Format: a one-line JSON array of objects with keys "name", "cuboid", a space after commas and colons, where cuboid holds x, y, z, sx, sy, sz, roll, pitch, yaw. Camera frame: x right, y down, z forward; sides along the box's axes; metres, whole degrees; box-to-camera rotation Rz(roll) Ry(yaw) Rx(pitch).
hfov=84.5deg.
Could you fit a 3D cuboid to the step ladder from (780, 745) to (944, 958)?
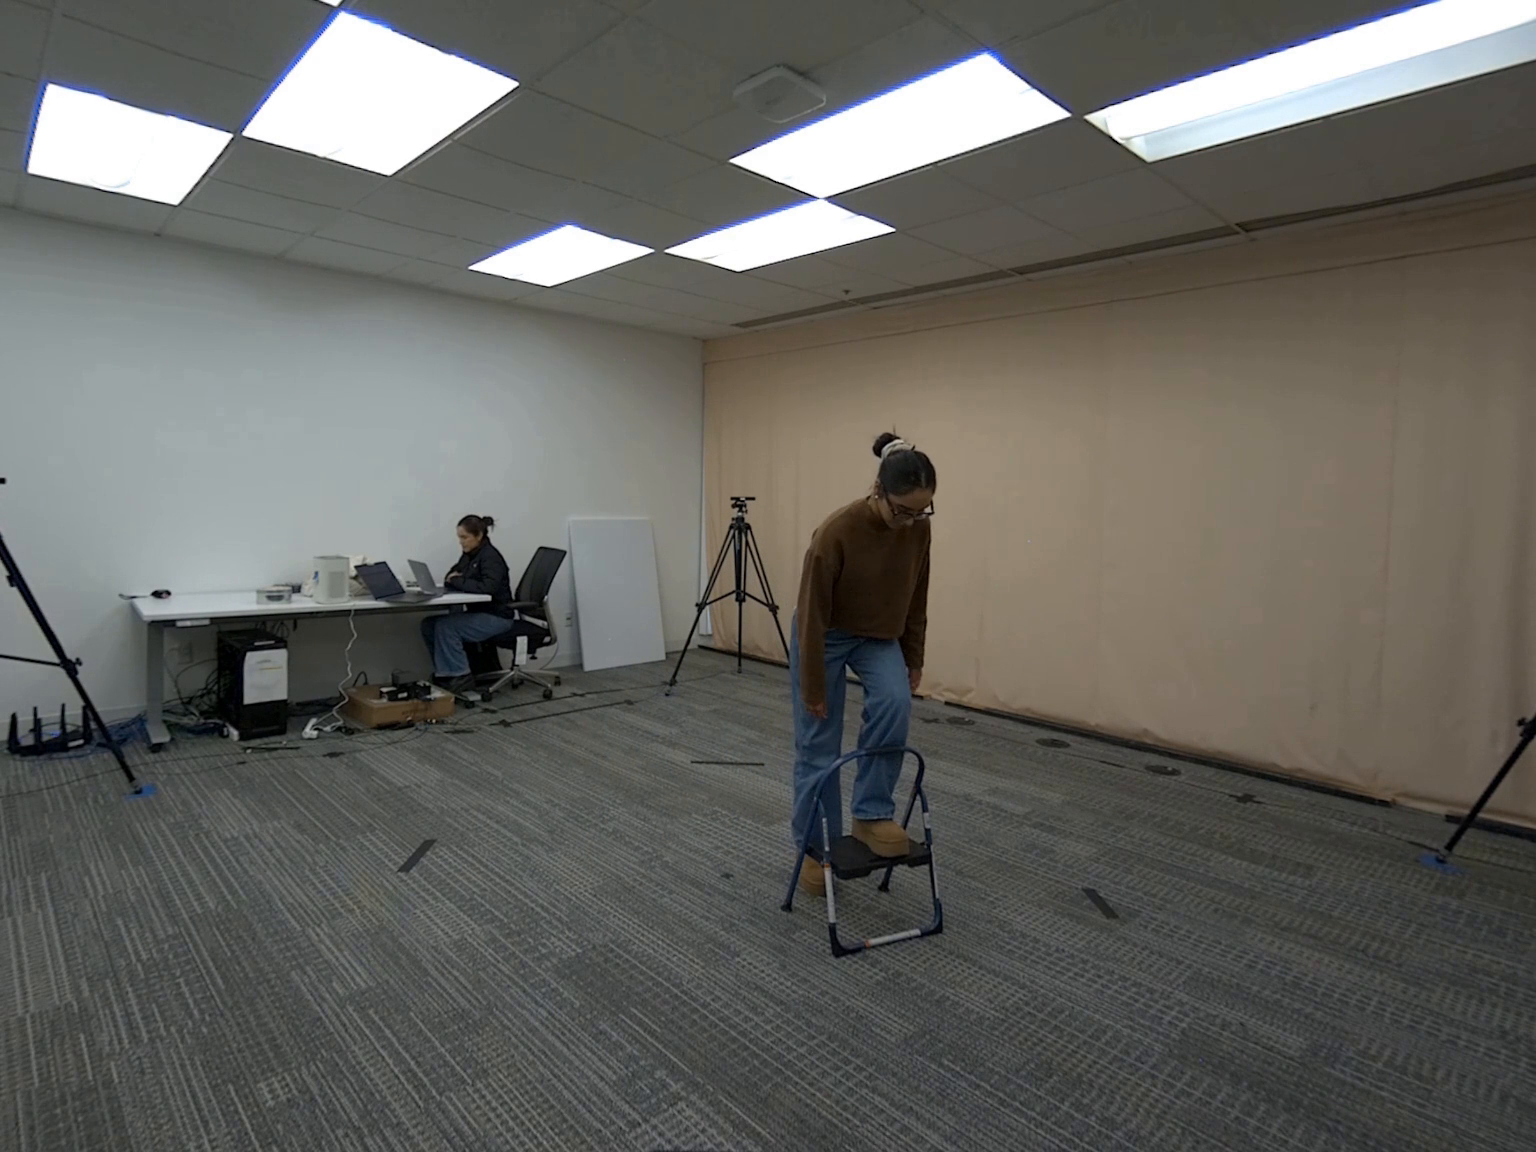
[{"name": "step ladder", "cuboid": [0.312, 0.846, 2.780, 0.422, 0.604, 0.357, 0, 4, -26]}]
